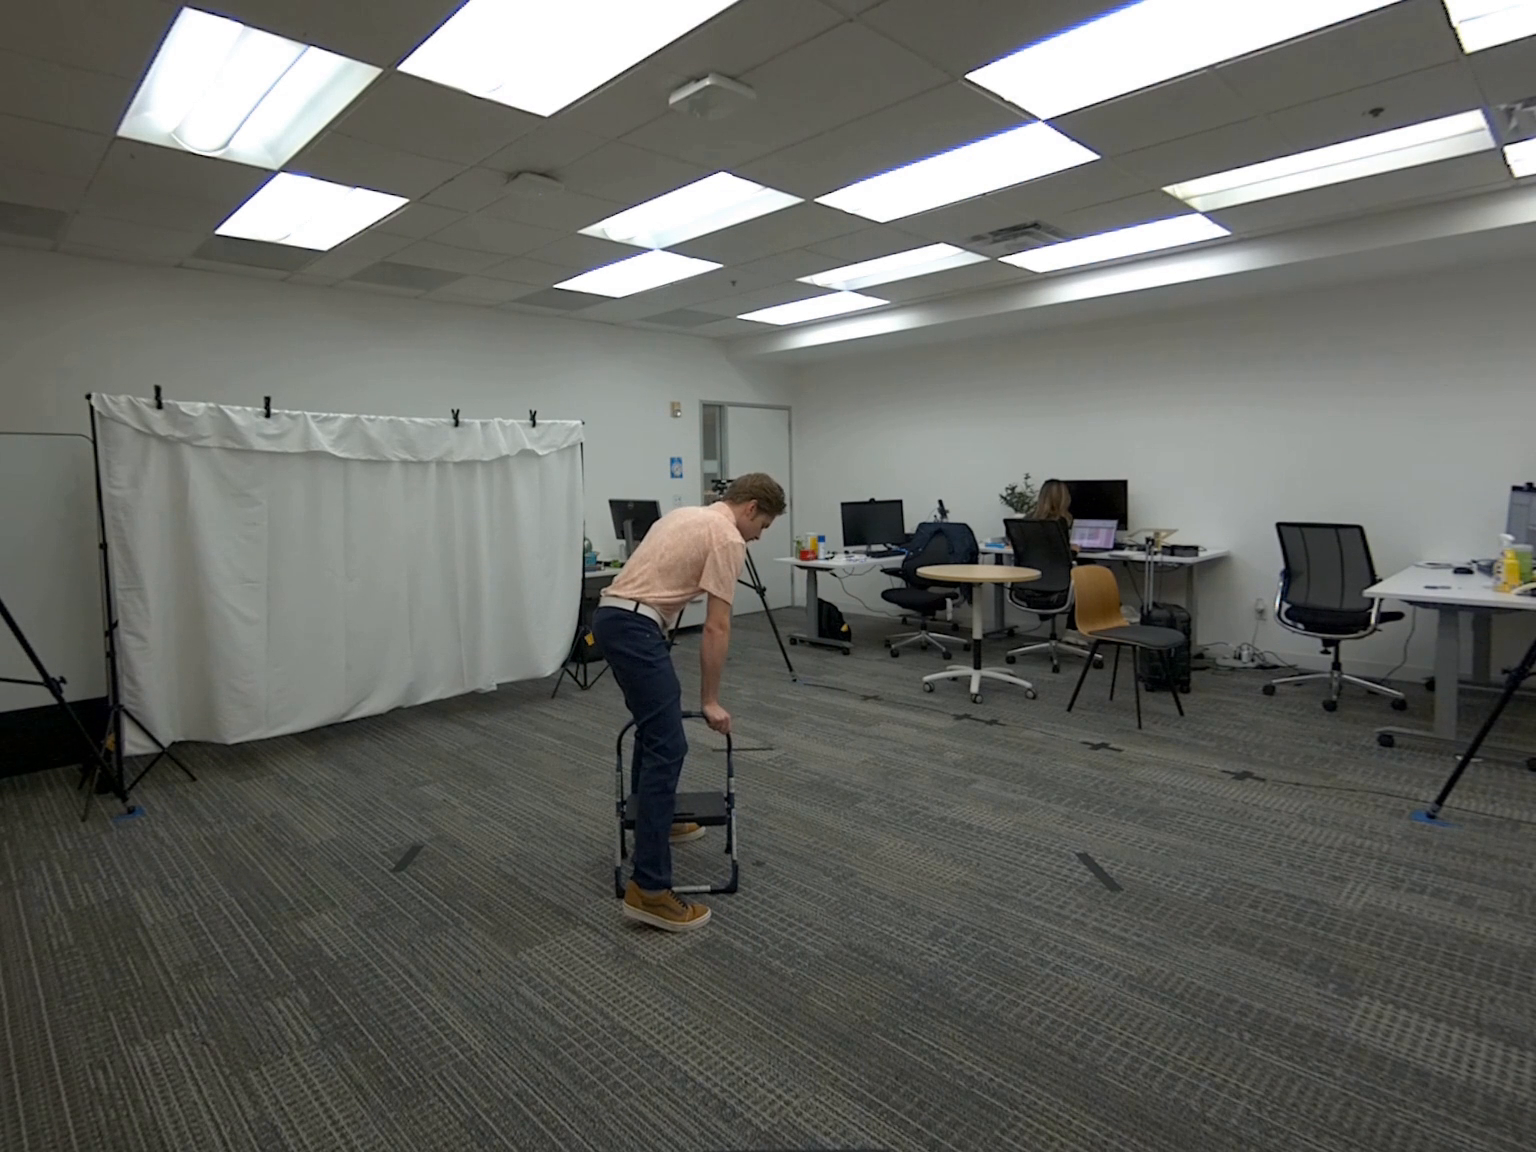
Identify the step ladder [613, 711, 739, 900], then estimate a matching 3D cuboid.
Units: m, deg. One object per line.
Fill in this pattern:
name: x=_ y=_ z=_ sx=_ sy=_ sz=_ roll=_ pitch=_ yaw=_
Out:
step ladder: x=-0.327 y=0.763 z=3.026 sx=0.429 sy=0.604 sz=0.352 roll=-3 pitch=4 yaw=-6
